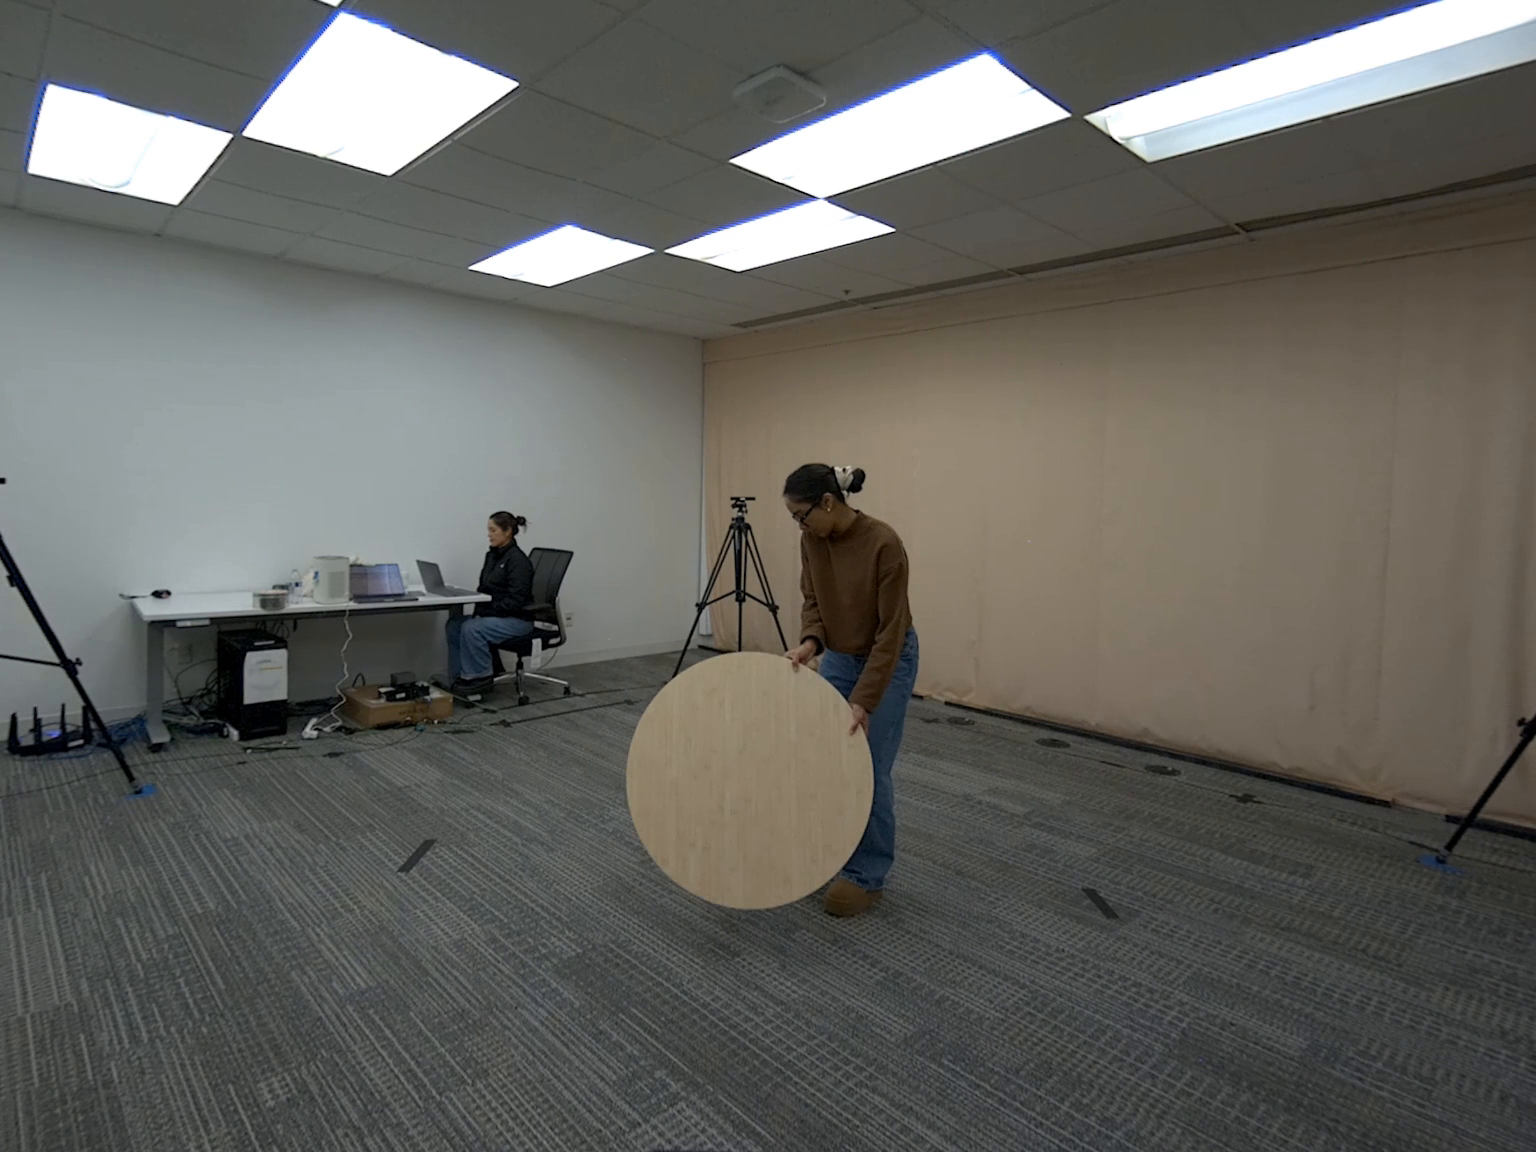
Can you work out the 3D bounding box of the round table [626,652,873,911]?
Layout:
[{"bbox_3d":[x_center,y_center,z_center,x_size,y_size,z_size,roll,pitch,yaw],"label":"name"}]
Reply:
[{"bbox_3d":[-0.084,0.730,2.969,0.762,0.774,0.785,1,-18,-3],"label":"round table"}]
